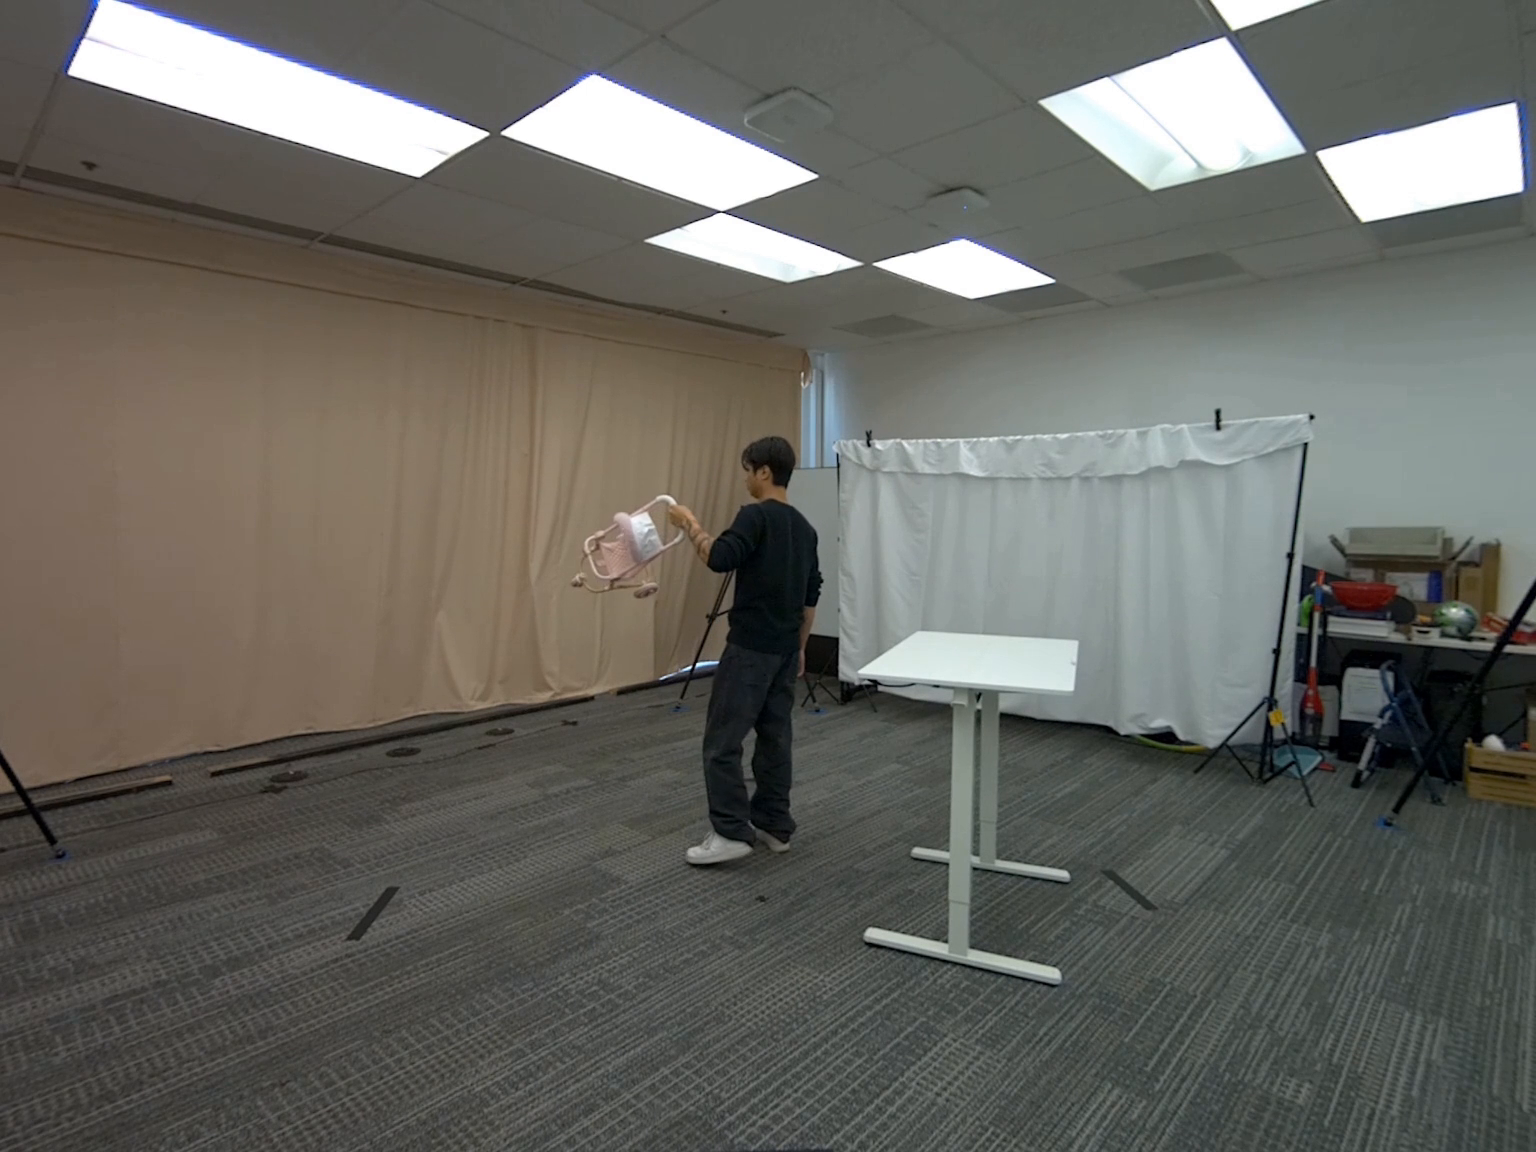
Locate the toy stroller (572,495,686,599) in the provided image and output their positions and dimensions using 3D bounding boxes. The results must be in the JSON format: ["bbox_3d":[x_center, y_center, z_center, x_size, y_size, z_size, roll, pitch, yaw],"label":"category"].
[{"bbox_3d":[-0.588,-0.098,3.439,0.333,0.286,0.538,-8,-22,-30],"label":"toy stroller"}]
